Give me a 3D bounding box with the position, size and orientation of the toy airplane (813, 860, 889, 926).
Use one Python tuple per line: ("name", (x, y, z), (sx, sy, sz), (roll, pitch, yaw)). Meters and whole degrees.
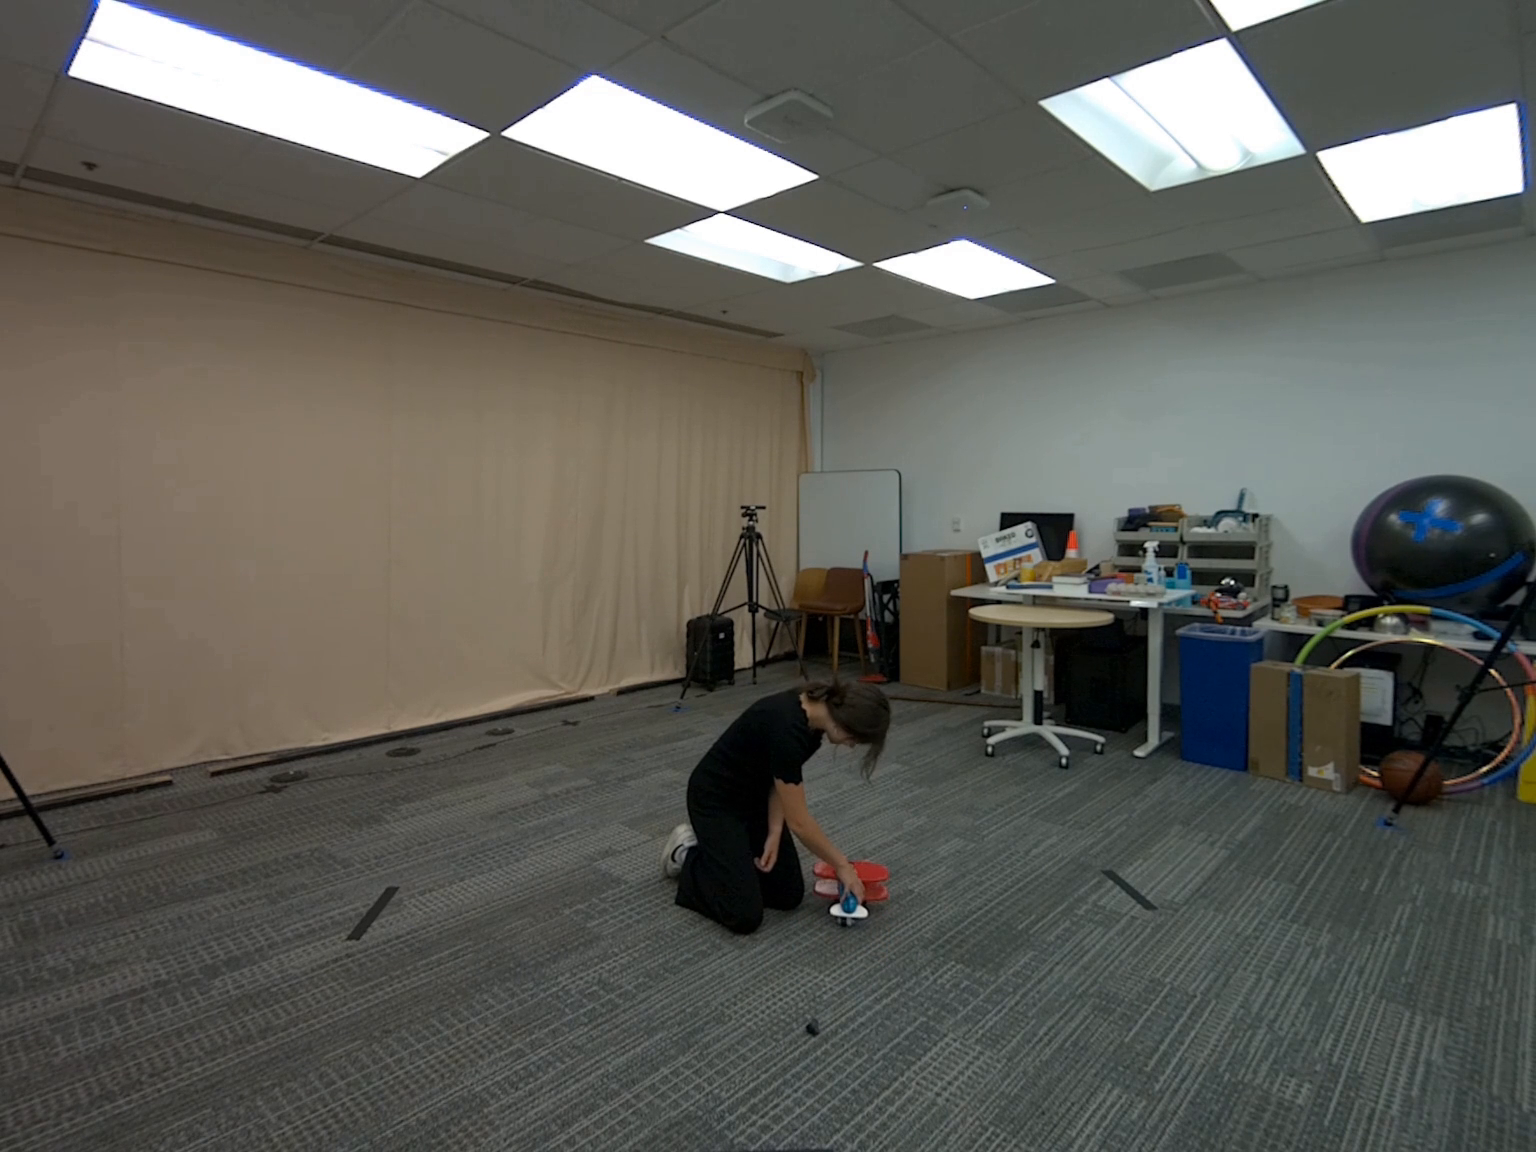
("toy airplane", (0.309, 1.081, 2.861), (0.246, 0.156, 0.265), (-2, 5, -19))
